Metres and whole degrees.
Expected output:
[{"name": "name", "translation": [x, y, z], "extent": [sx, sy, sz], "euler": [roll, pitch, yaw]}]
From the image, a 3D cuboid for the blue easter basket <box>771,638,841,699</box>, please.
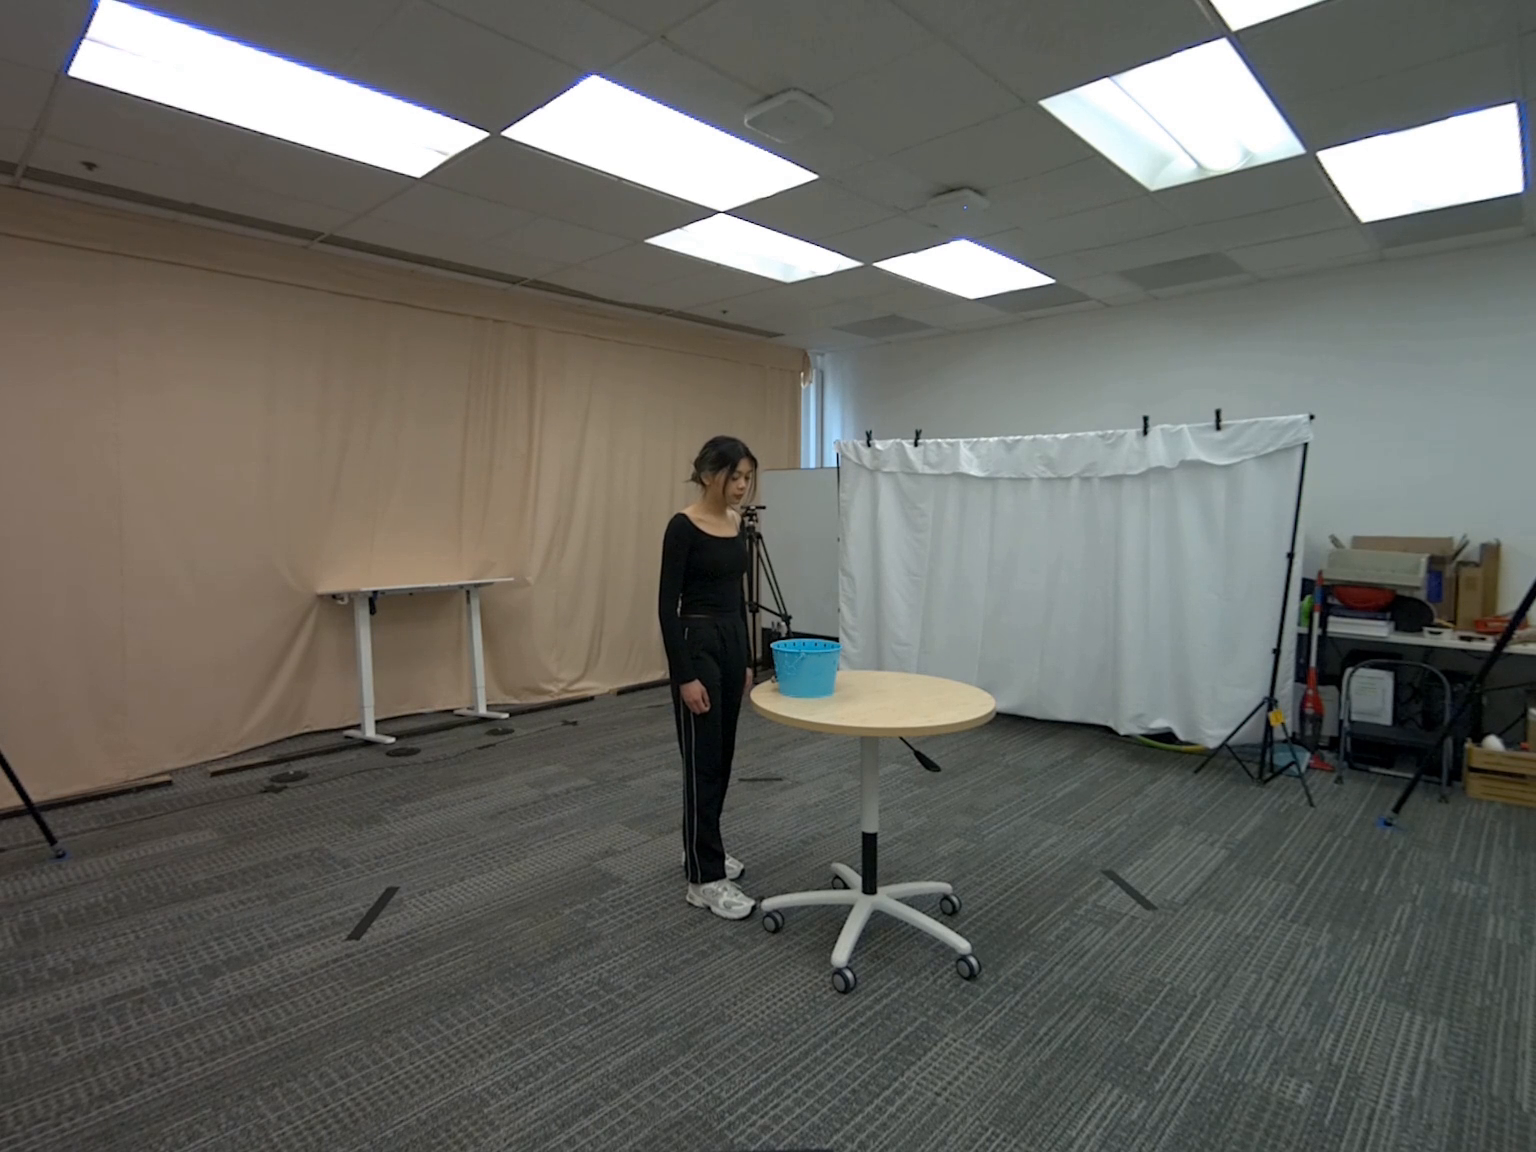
[{"name": "blue easter basket", "translation": [0.128, 0.303, 2.743], "extent": [0.243, 0.155, 0.245], "euler": [-1, 6, -2]}]
